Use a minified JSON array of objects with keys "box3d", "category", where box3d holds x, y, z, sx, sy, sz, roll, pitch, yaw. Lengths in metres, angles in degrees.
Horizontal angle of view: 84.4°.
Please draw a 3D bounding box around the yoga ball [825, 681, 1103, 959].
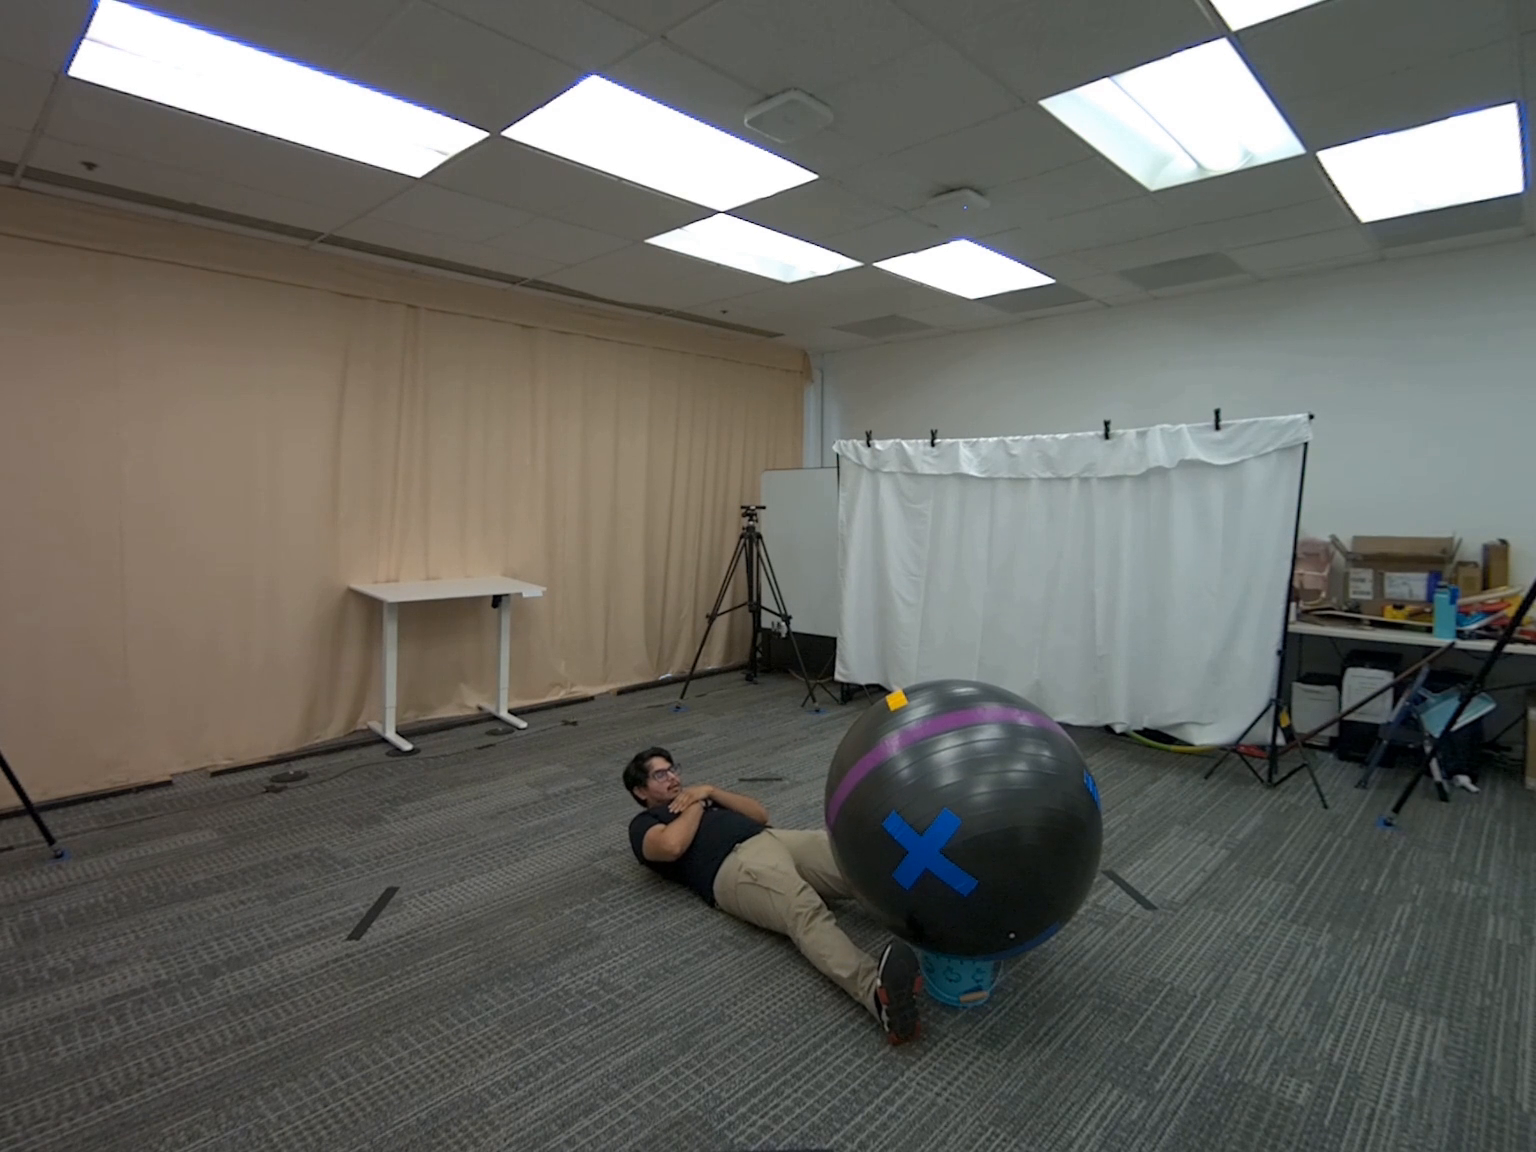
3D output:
[{"box3d":[0.551,0.683,2.404,0.757,0.756,0.760,0,4,-2],"category":"yoga ball"}]
